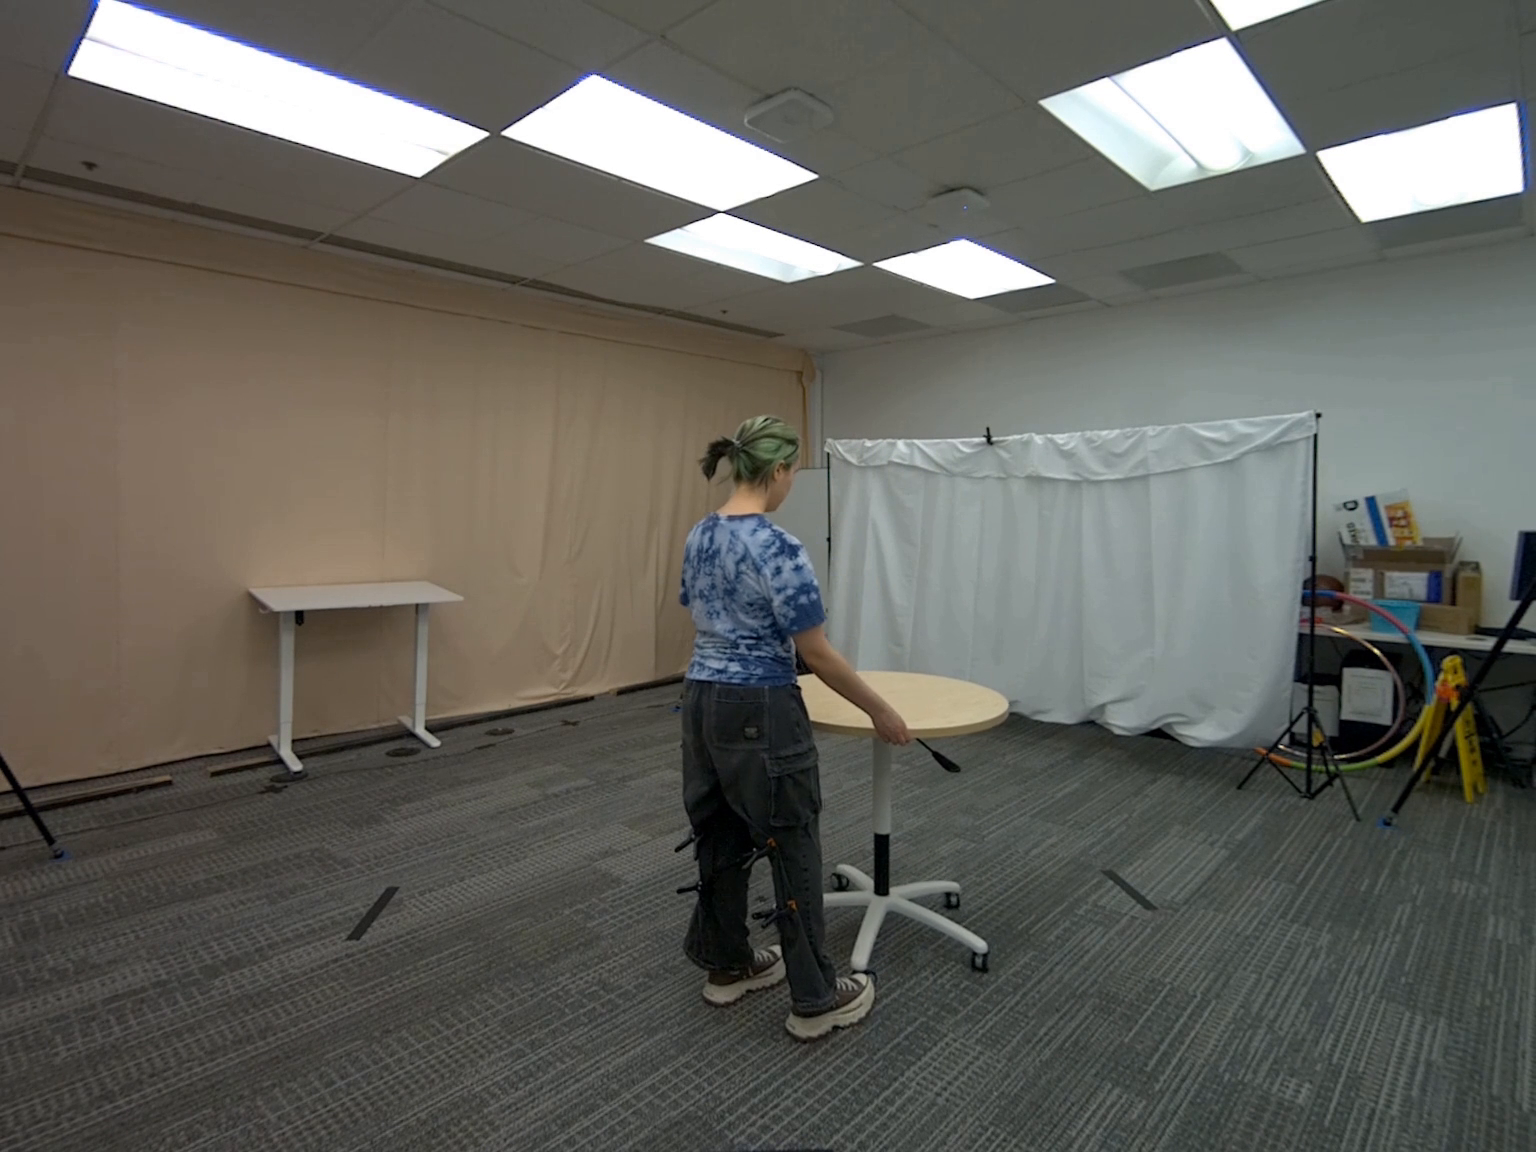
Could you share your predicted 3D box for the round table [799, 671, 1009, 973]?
[{"bbox_3d":[0.371,0.777,2.708,0.763,0.792,0.767,0,4,-2],"label":"round table"}]
